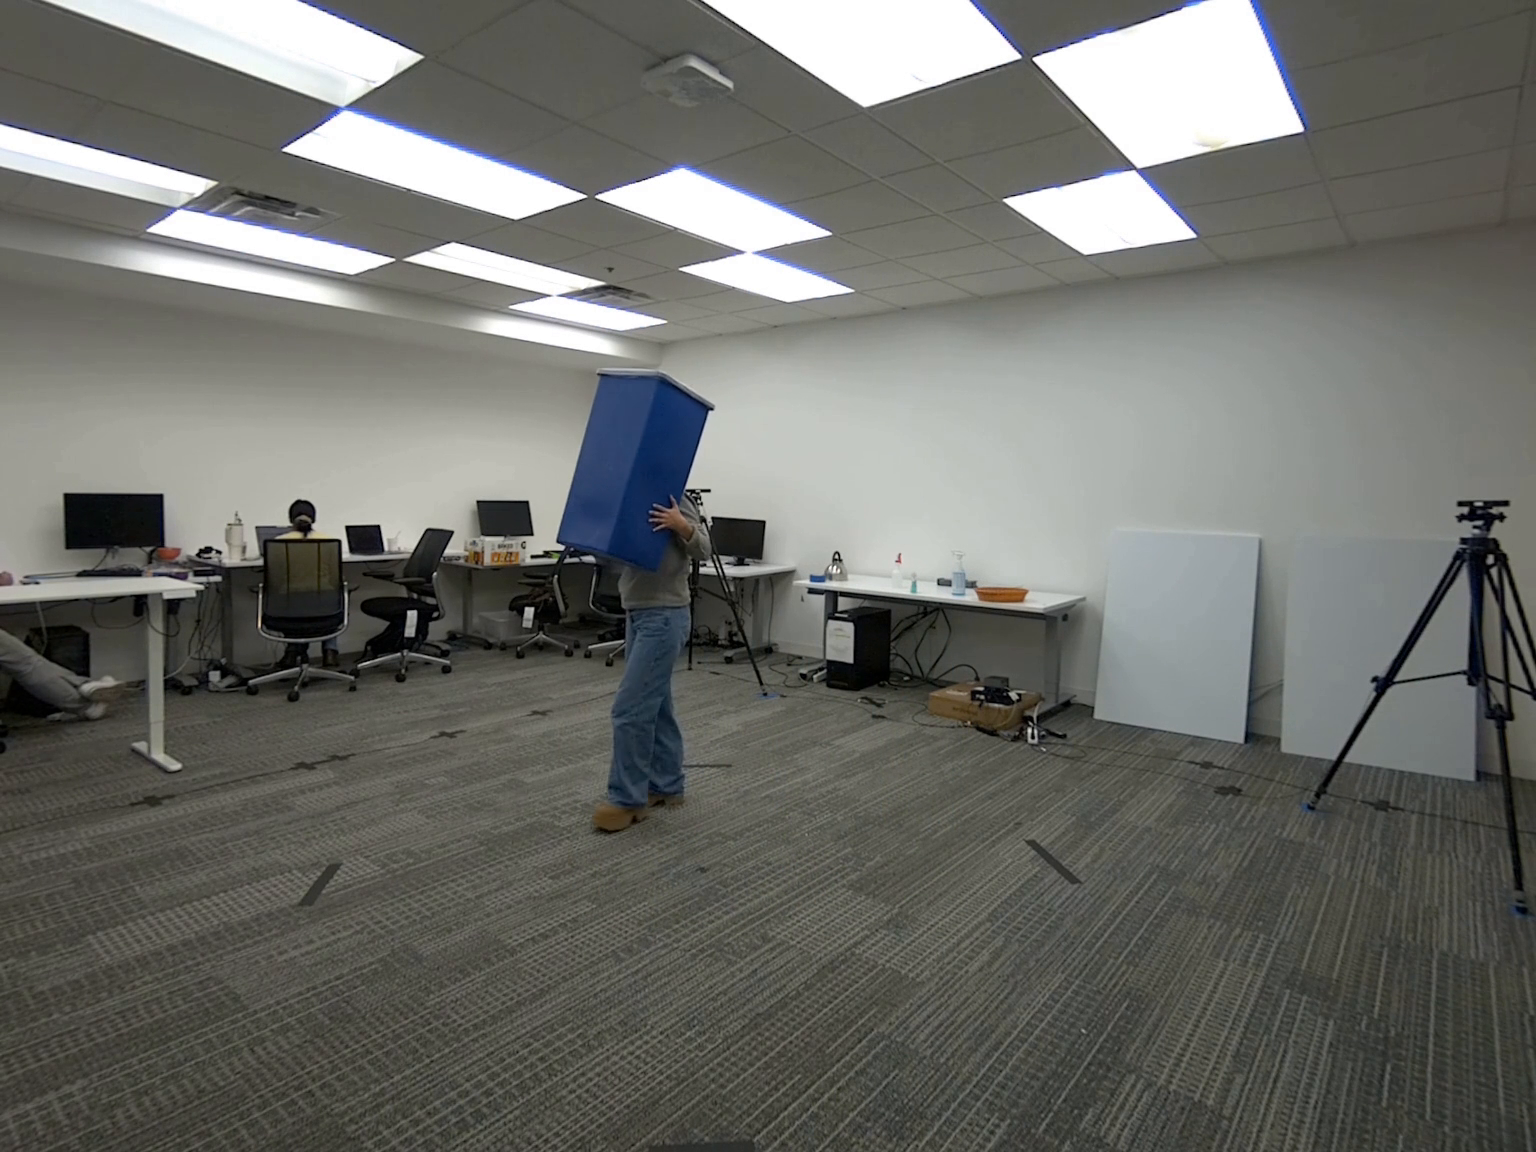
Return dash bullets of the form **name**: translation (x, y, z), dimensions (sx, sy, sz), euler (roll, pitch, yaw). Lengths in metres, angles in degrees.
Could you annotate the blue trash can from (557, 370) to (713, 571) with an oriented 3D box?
- **blue trash can**: translation (-0.546, -0.420, 3.352), dimensions (0.391, 0.717, 0.359), euler (10, -9, 37)
